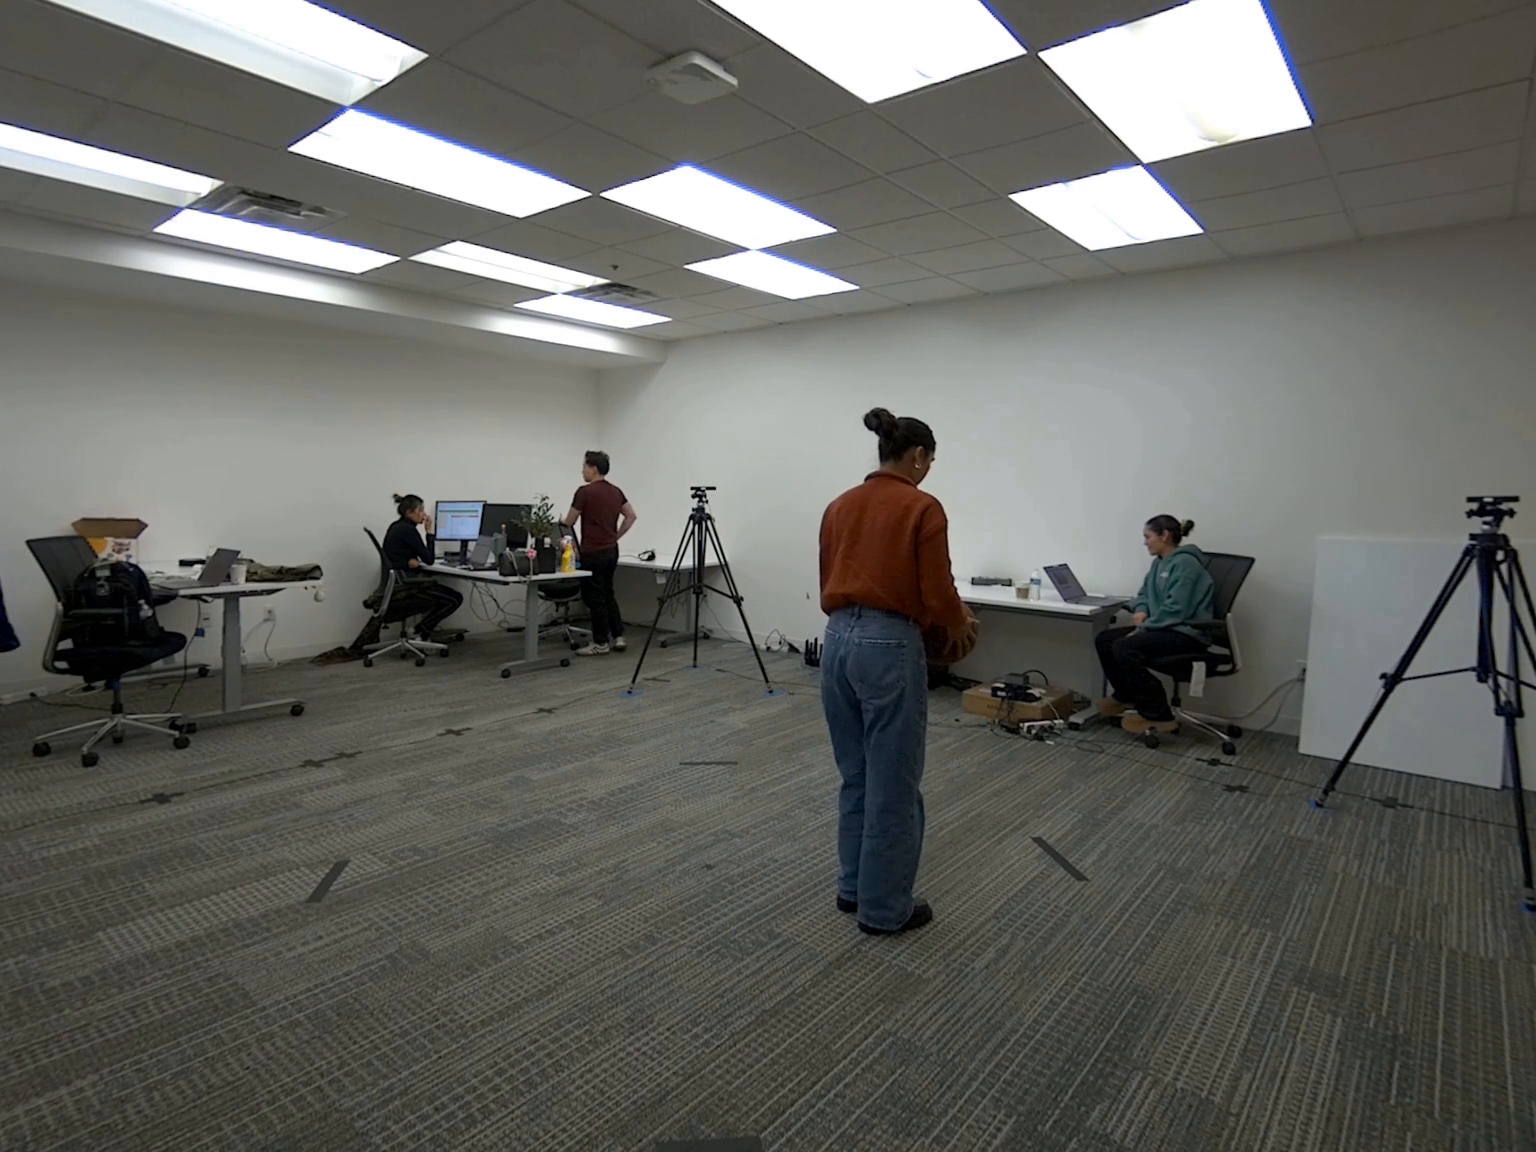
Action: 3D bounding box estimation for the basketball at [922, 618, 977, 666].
[{"bbox_3d":[0.584,0.185,2.885,0.236,0.235,0.237,1,4,-2],"label":"basketball"}]
